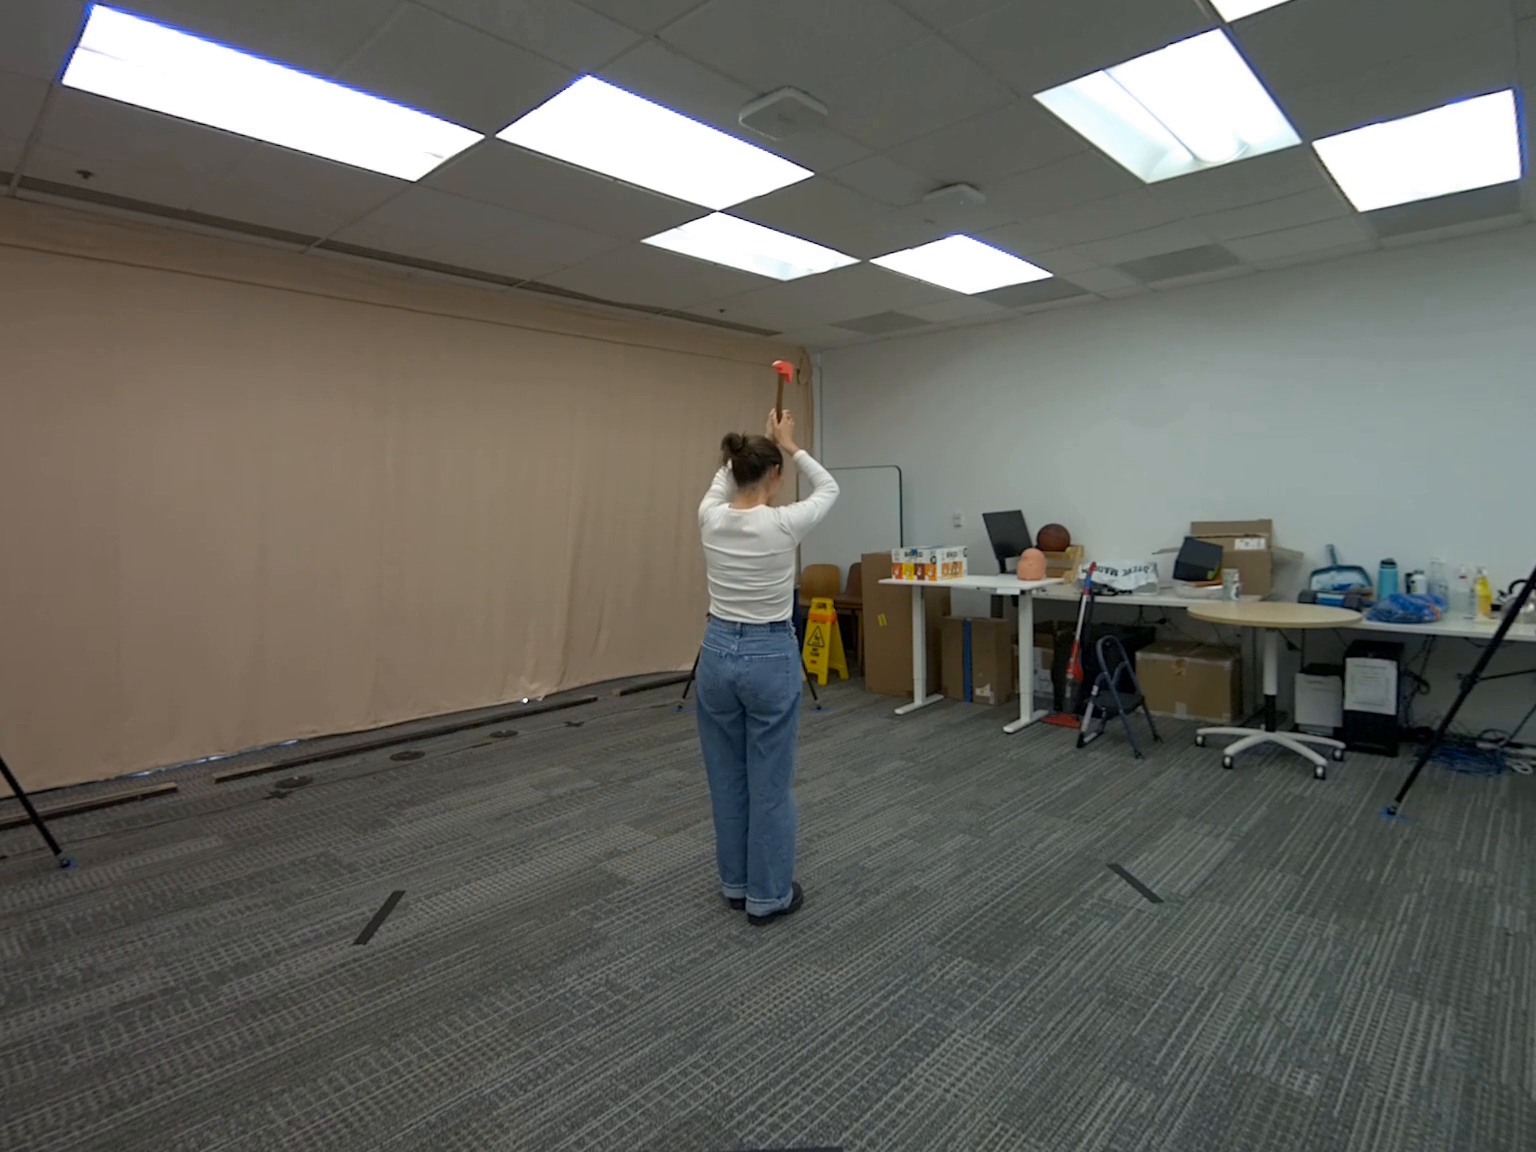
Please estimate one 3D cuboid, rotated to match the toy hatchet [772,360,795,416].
[{"bbox_3d":[0.057,-0.636,2.973,0.030,0.266,0.129,9,27,27],"label":"toy hatchet"}]
